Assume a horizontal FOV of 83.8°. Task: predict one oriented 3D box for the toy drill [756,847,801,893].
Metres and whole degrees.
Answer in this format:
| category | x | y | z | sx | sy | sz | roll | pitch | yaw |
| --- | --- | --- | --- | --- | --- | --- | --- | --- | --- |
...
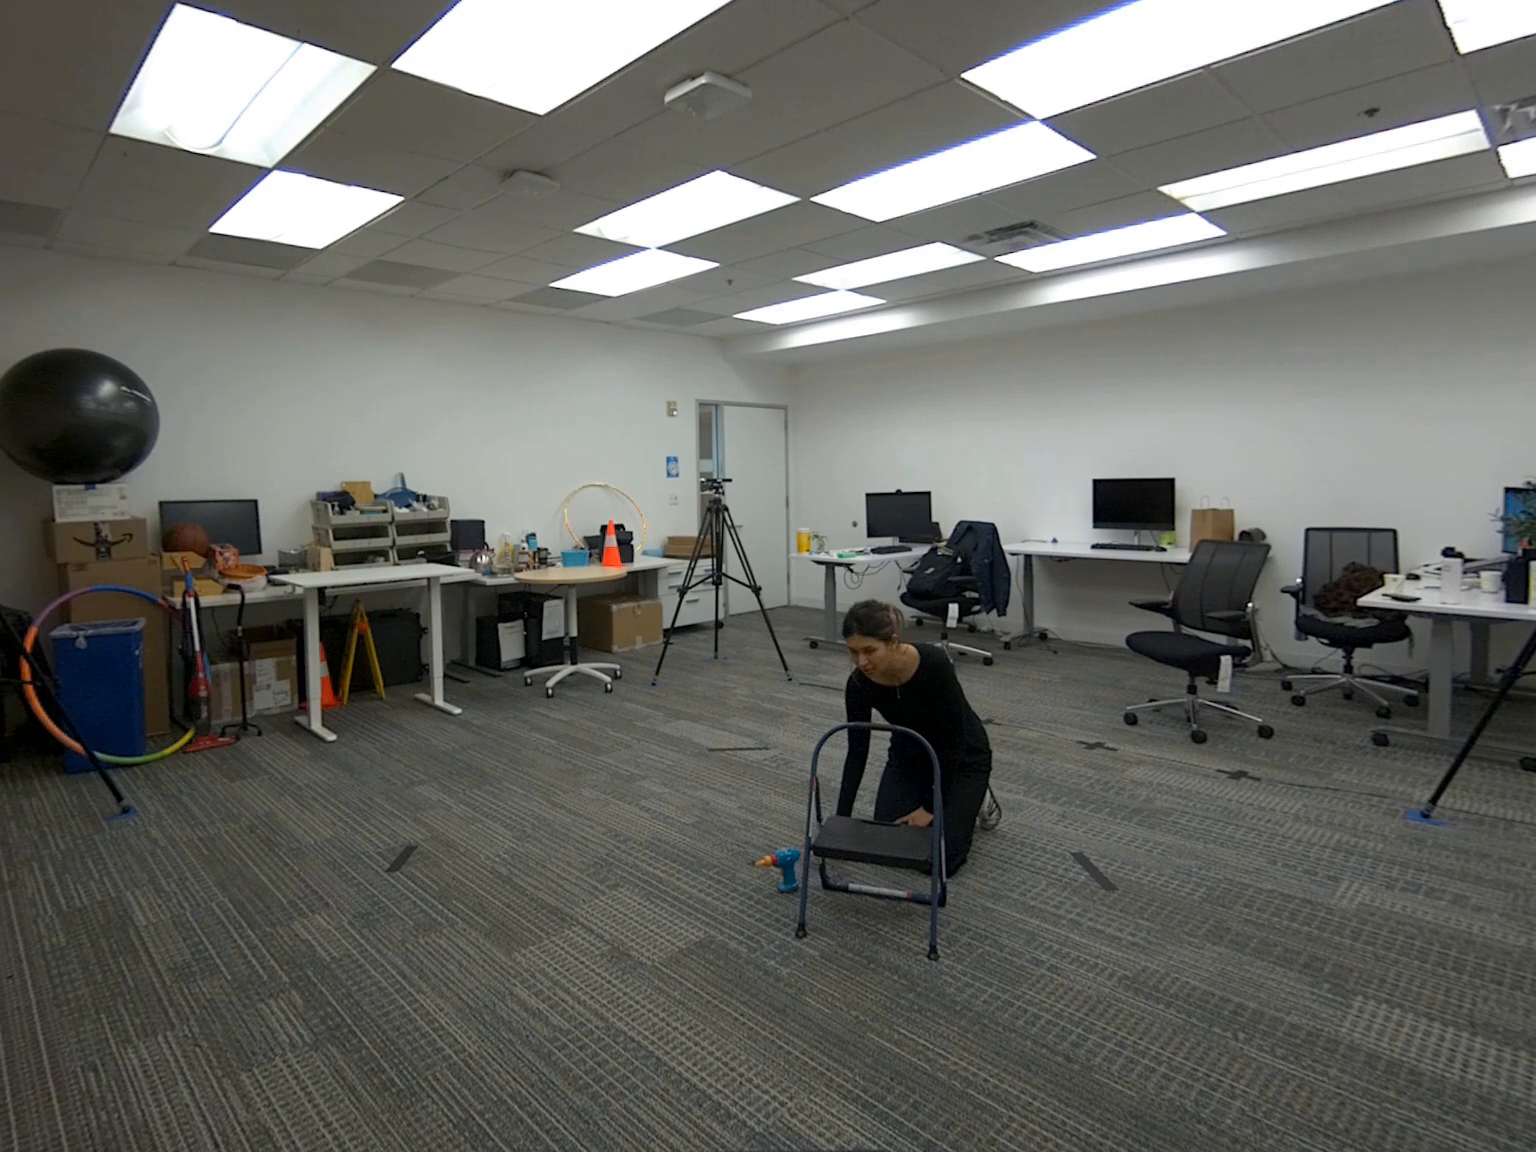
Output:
| category | x | y | z | sx | sy | sz | roll | pitch | yaw |
| --- | --- | --- | --- | --- | --- | --- | --- | --- | --- |
| toy drill | 0.037 | 1.000 | 2.888 | 0.166 | 0.145 | 0.062 | -5 | 3 | -23 |
